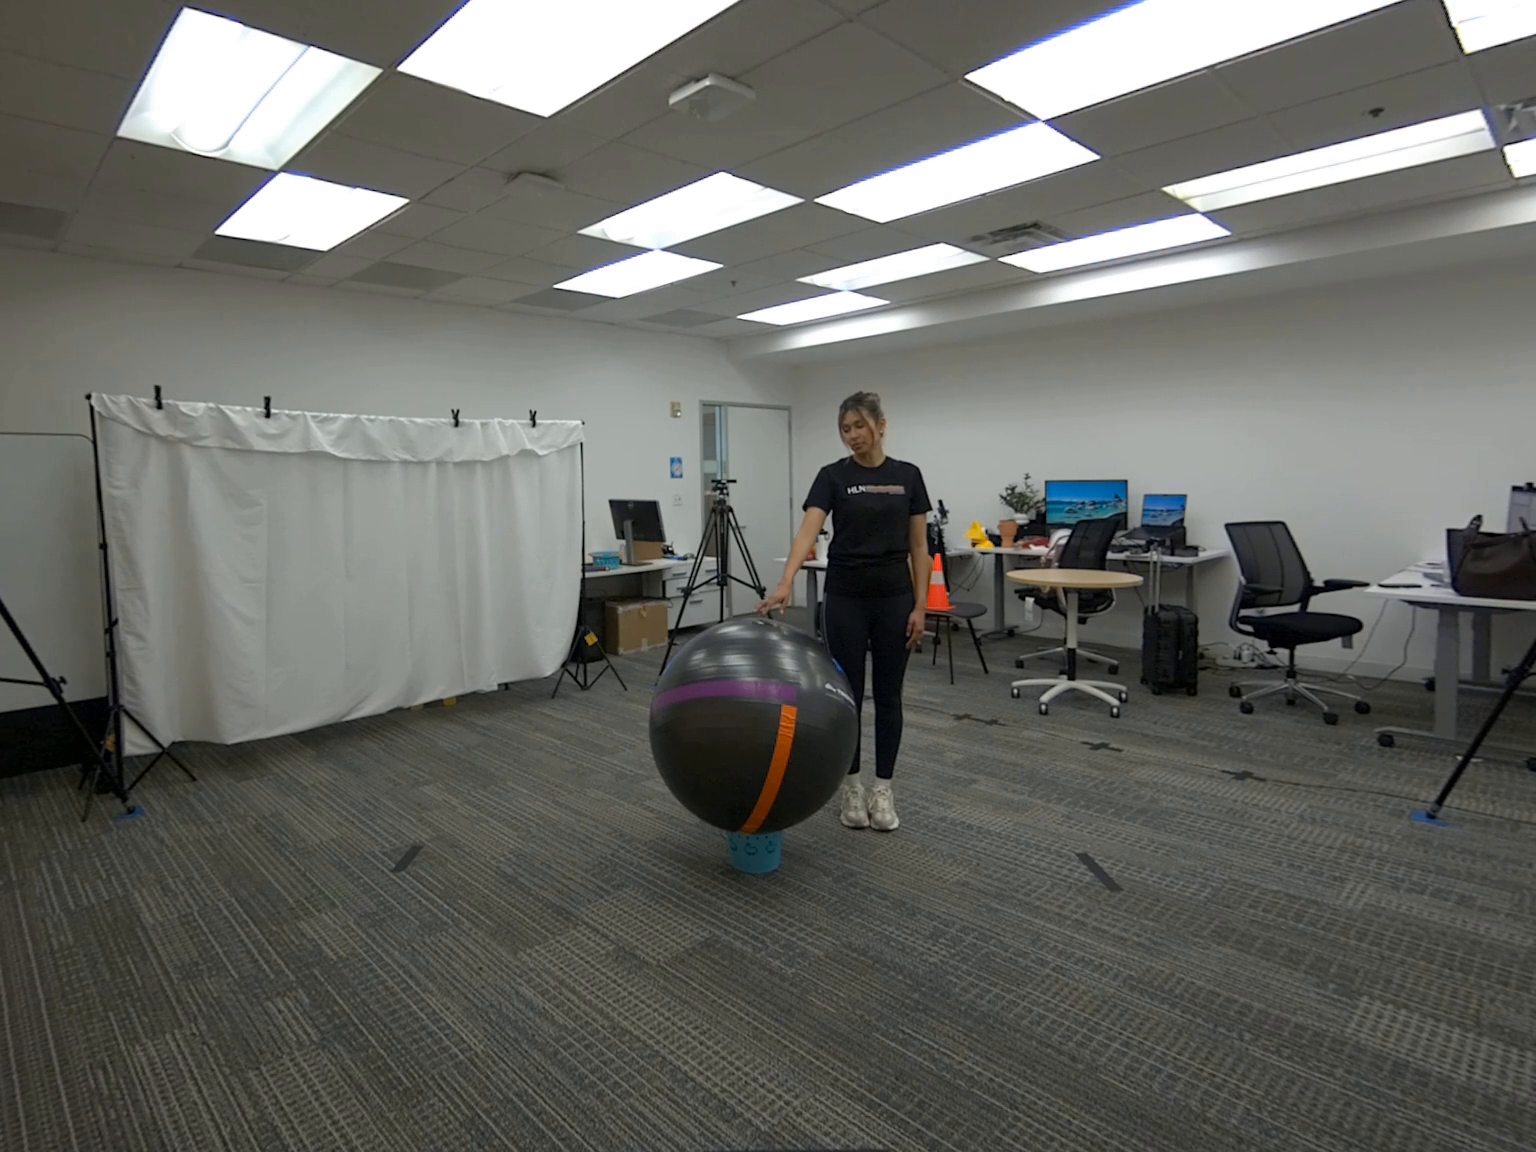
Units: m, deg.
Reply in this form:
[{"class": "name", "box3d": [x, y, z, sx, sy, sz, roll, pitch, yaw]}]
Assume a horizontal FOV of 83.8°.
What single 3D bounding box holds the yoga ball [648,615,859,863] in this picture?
[{"class": "yoga ball", "box3d": [-0.053, 0.539, 3.105, 0.757, 0.755, 0.762, -1, 5, -2]}]
